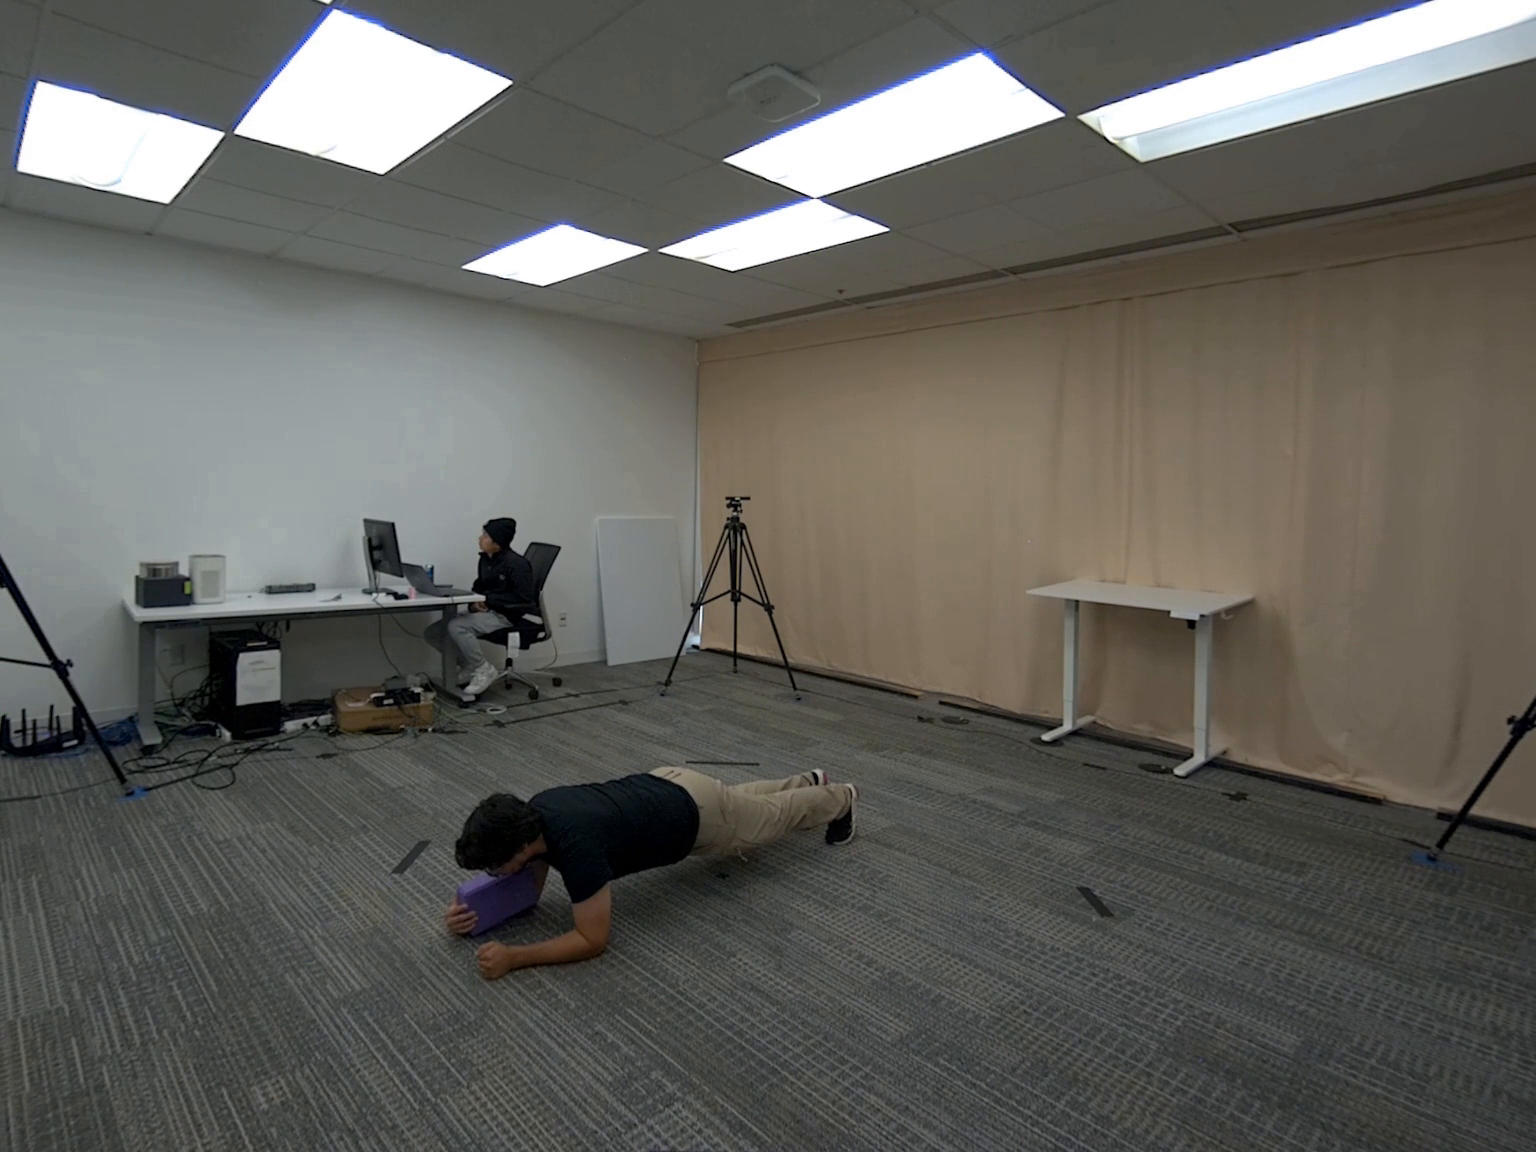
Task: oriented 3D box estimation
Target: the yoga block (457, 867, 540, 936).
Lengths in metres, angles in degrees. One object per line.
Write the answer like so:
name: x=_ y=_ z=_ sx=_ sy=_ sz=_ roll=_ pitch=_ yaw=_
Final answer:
yoga block: x=-0.868 y=1.021 z=2.697 sx=0.225 sy=0.148 sz=0.078 roll=-12 pitch=13 yaw=-40
